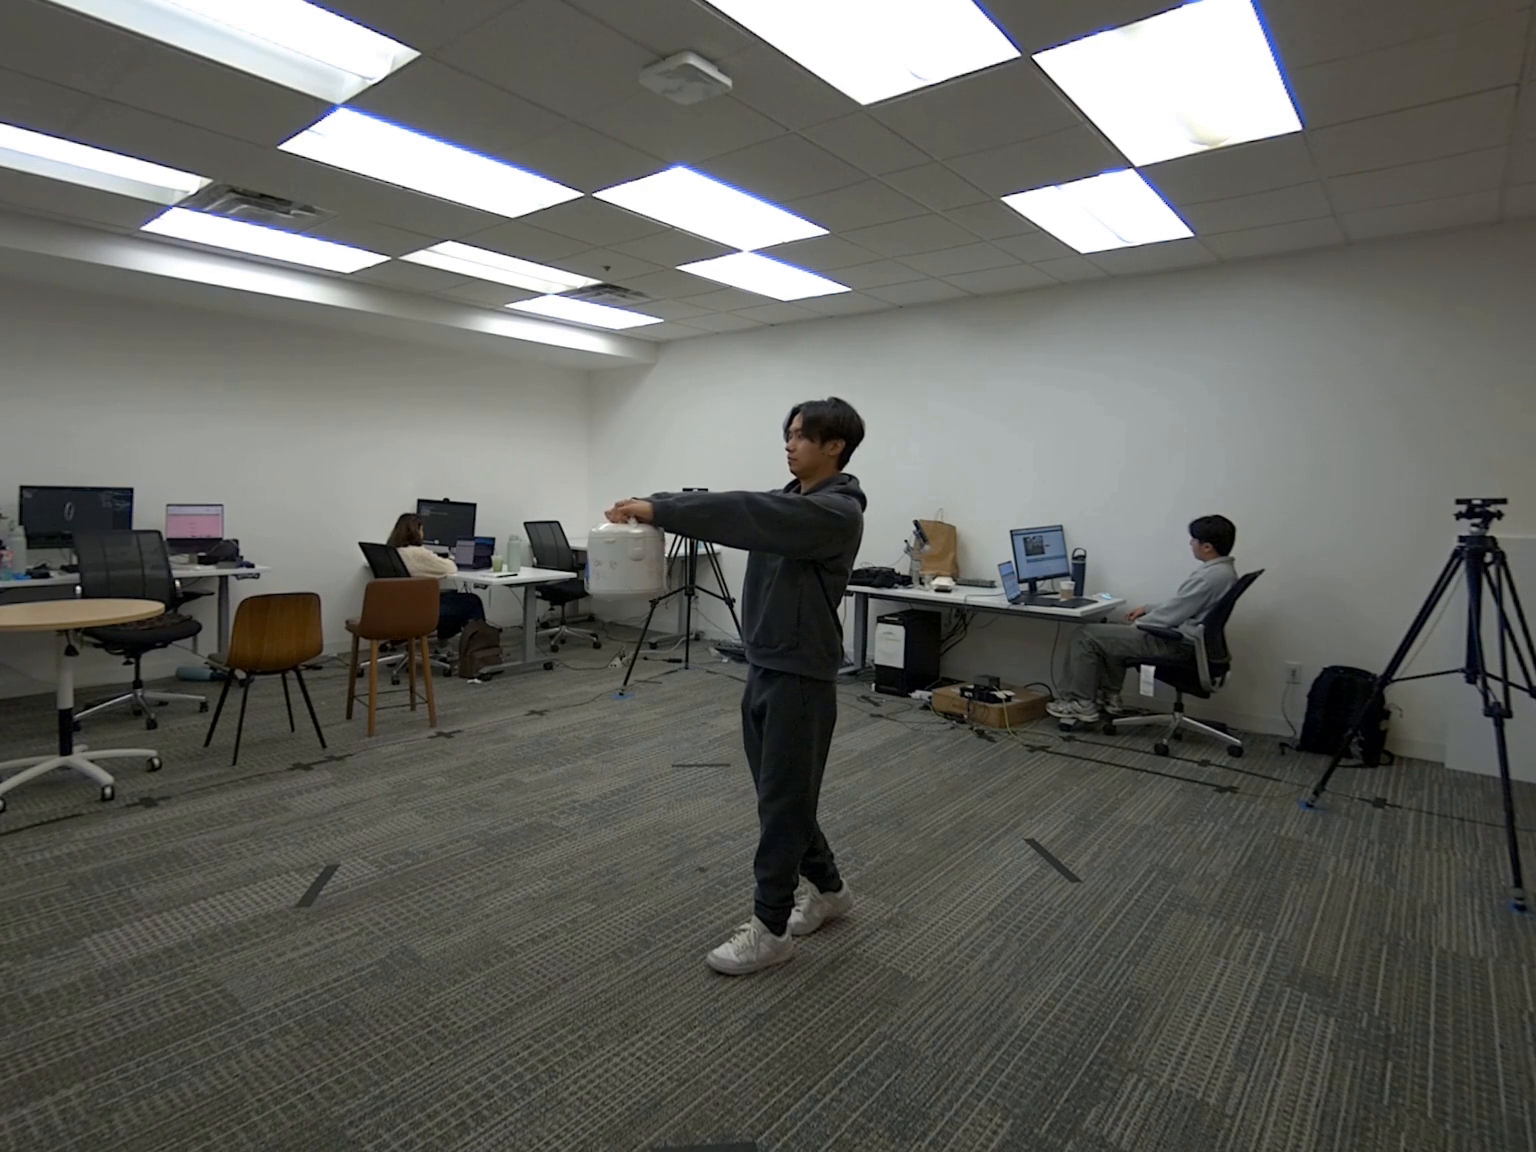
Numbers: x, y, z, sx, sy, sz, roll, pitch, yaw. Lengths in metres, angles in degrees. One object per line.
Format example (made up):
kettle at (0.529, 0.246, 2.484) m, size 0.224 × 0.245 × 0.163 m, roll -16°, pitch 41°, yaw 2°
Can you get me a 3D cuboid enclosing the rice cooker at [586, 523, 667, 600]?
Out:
rice cooker at (-0.394, -0.055, 2.349) m, size 0.213 × 0.232 × 0.225 m, roll -2°, pitch 2°, yaw -21°
